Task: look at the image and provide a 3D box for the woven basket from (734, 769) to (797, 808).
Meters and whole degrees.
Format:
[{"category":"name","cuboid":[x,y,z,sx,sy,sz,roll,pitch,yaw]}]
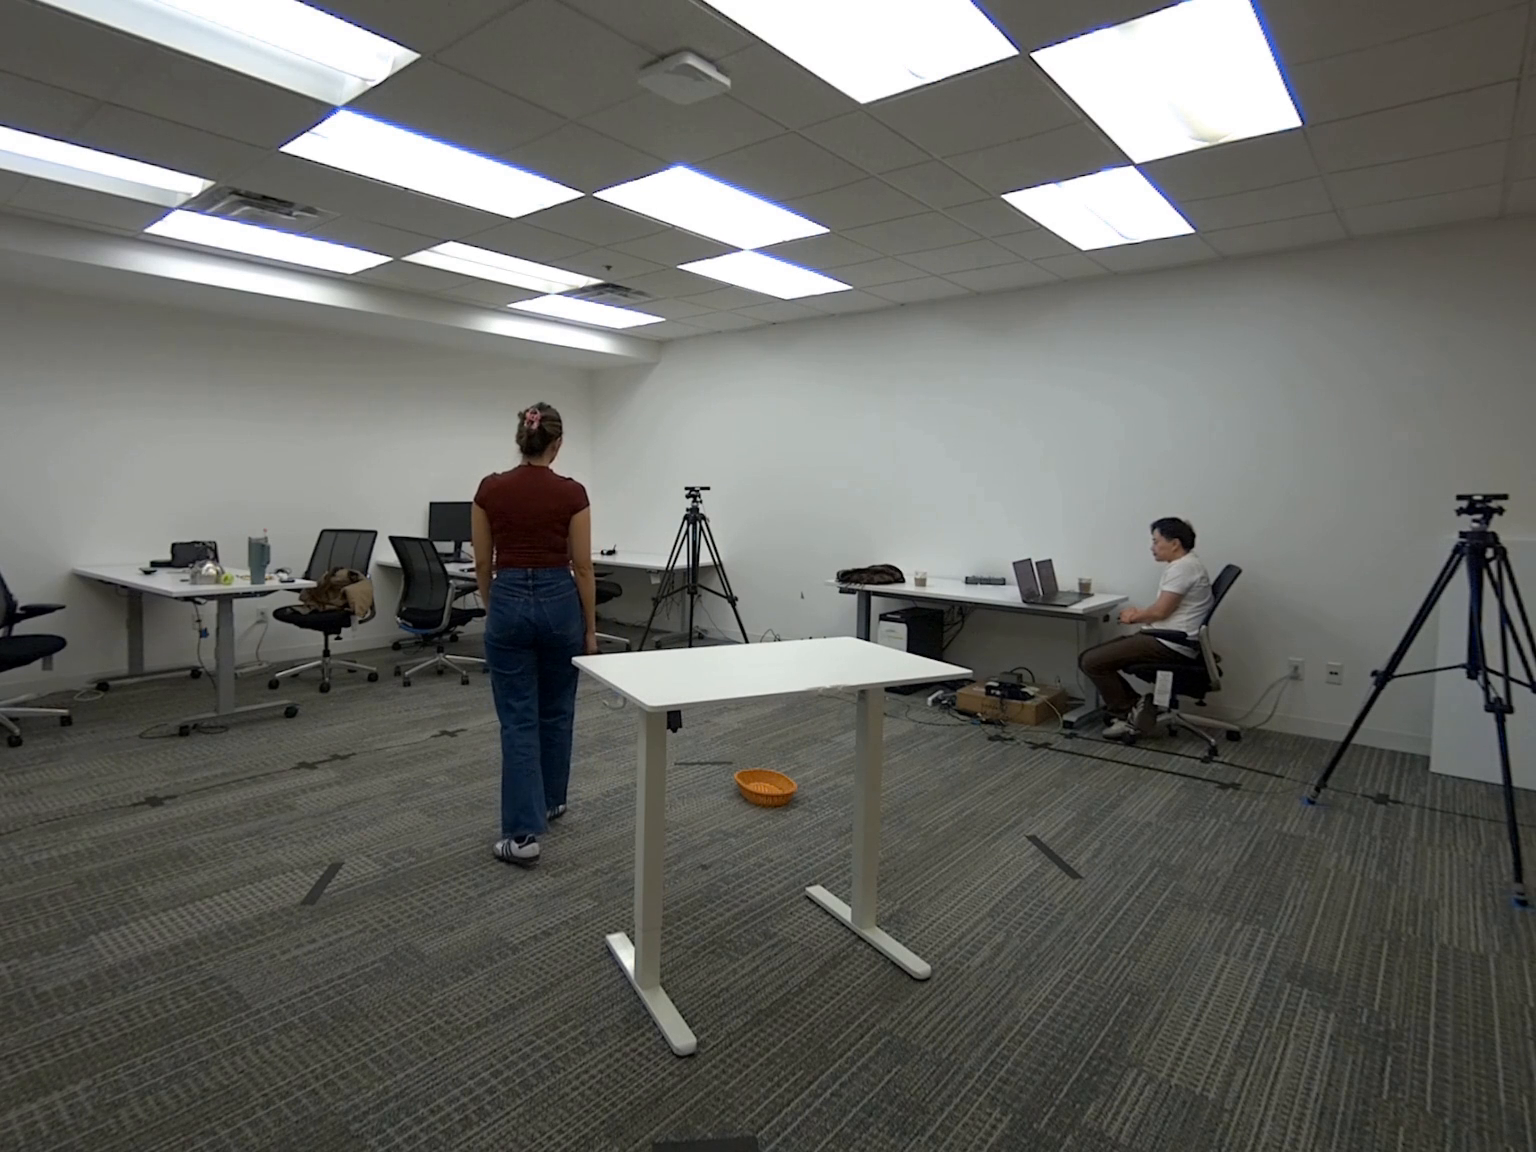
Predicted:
[{"category":"woven basket","cuboid":[-0.026,0.959,3.856,0.247,0.073,0.359,-1,6,-23]}]
